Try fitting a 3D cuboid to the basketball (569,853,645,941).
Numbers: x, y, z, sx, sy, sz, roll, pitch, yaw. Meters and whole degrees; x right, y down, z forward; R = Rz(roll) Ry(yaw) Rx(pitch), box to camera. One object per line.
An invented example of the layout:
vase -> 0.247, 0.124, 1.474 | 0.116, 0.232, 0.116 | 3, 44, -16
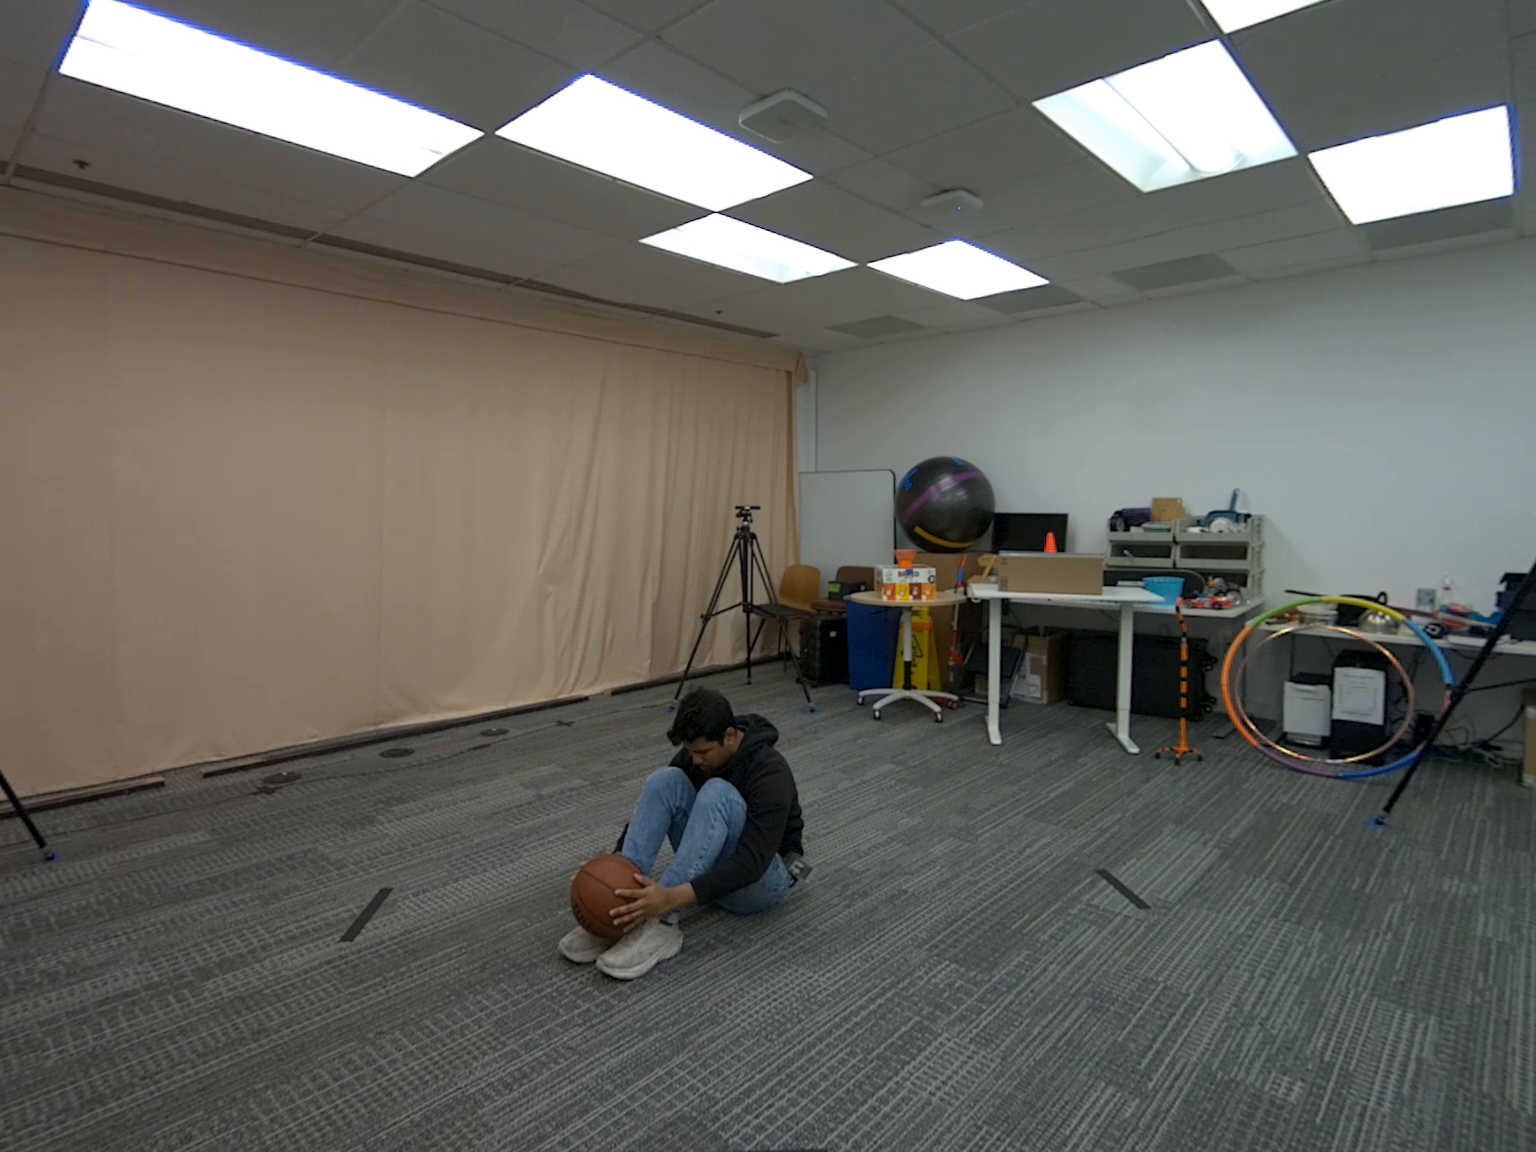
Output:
basketball -> -0.481, 0.965, 2.580 | 0.236, 0.235, 0.237 | 0, 4, -2
